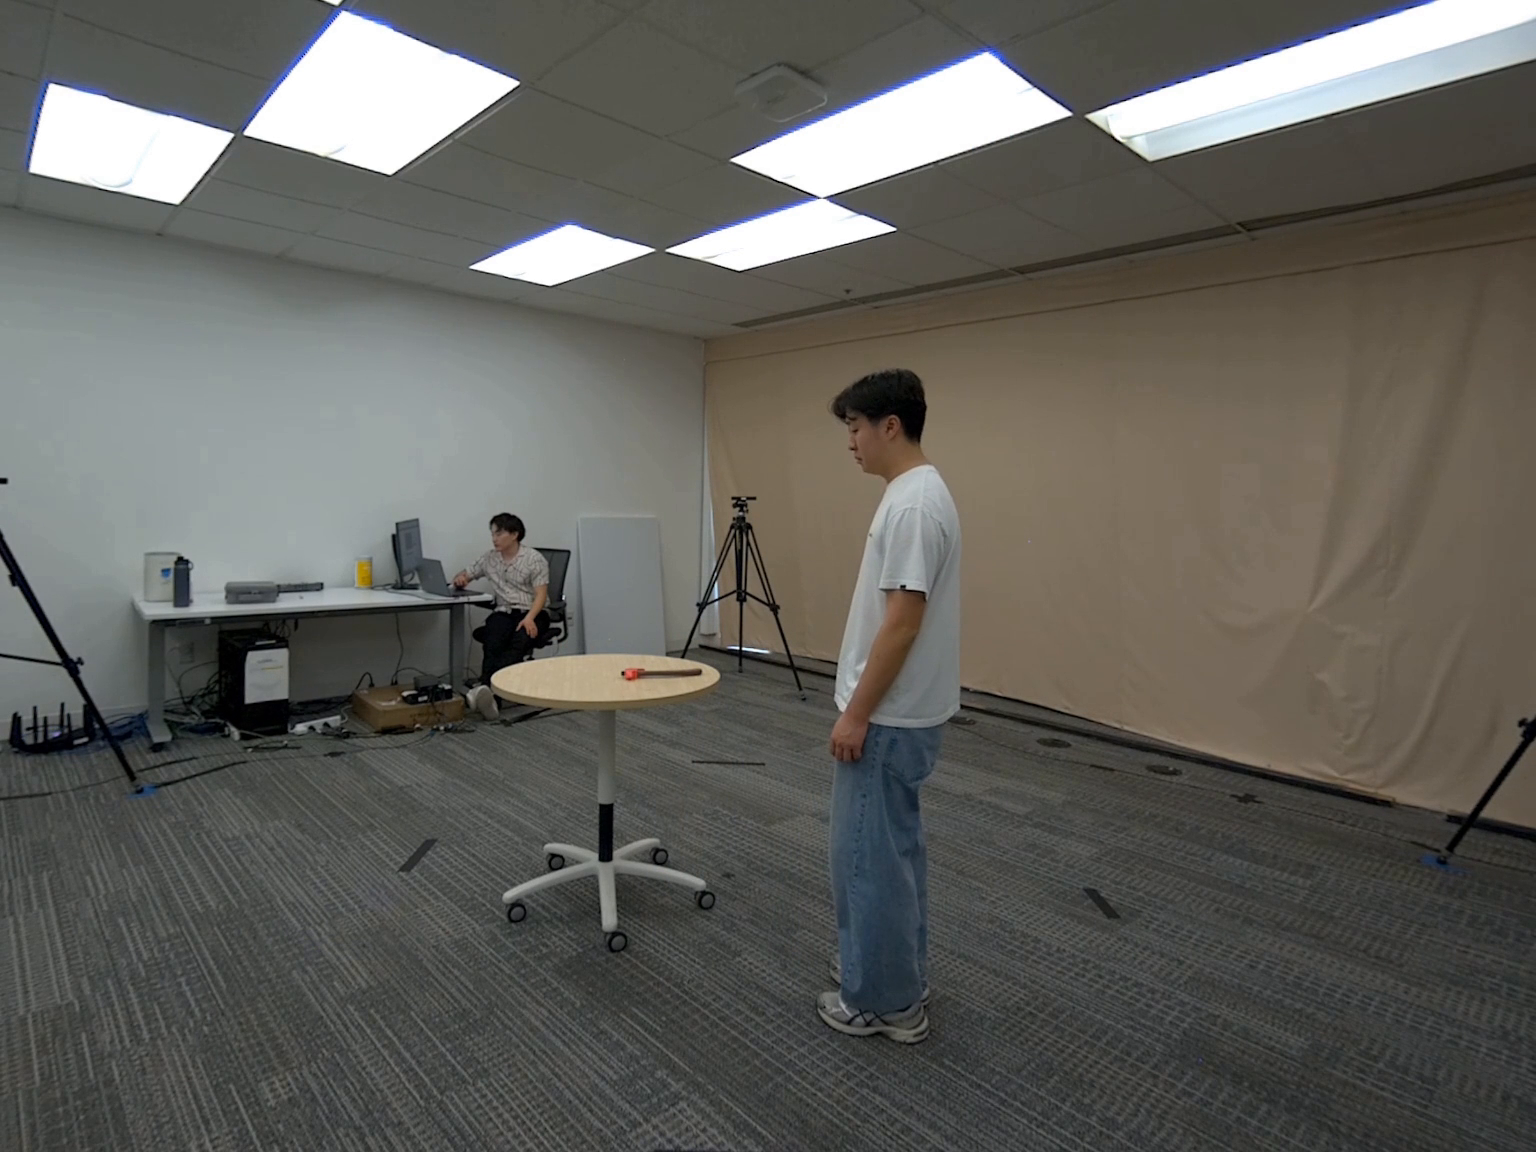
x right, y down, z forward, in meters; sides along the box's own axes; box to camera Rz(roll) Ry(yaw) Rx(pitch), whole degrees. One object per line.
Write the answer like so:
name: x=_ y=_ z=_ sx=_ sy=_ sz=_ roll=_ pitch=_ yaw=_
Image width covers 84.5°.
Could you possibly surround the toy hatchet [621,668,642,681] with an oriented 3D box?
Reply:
toy hatchet: x=-0.380 y=0.331 z=2.857 sx=0.265 sy=0.029 sz=0.133 roll=0 pitch=1 yaw=-27
